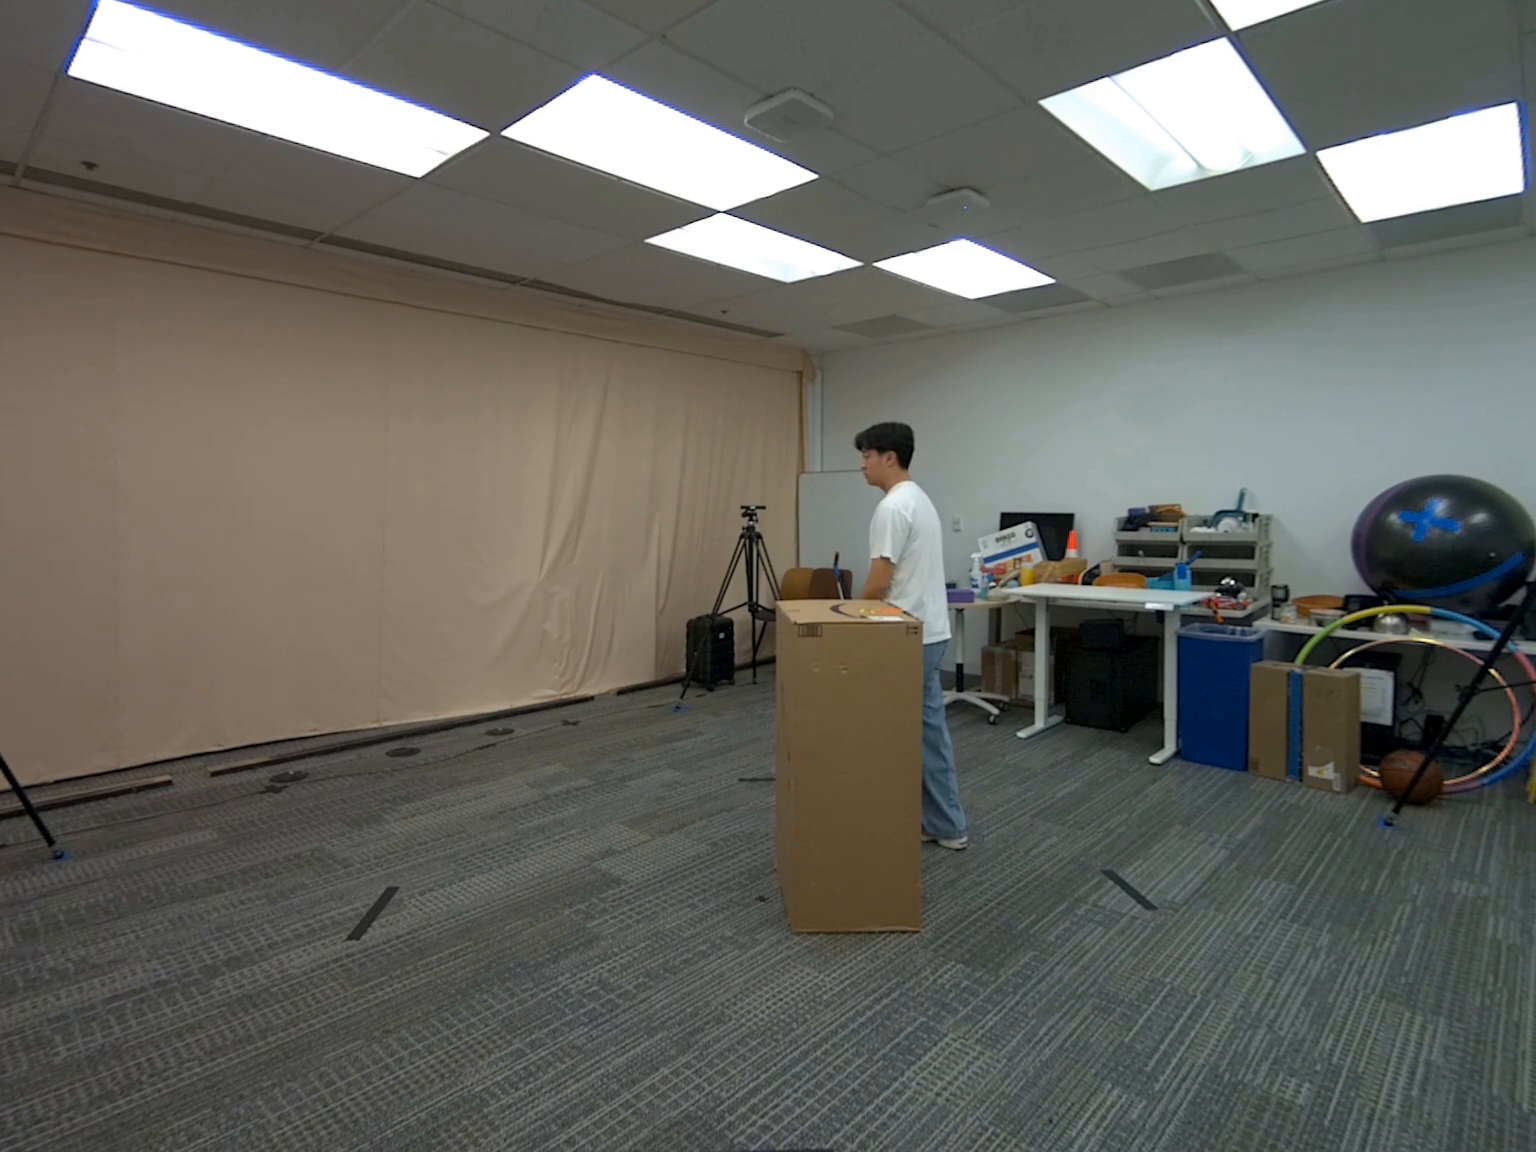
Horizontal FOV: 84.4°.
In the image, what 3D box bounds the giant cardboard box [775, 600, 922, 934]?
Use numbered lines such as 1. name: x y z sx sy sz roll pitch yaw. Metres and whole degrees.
1. giant cardboard box: 0.267 0.632 2.994 0.425 1.024 0.581 0 3 -5
